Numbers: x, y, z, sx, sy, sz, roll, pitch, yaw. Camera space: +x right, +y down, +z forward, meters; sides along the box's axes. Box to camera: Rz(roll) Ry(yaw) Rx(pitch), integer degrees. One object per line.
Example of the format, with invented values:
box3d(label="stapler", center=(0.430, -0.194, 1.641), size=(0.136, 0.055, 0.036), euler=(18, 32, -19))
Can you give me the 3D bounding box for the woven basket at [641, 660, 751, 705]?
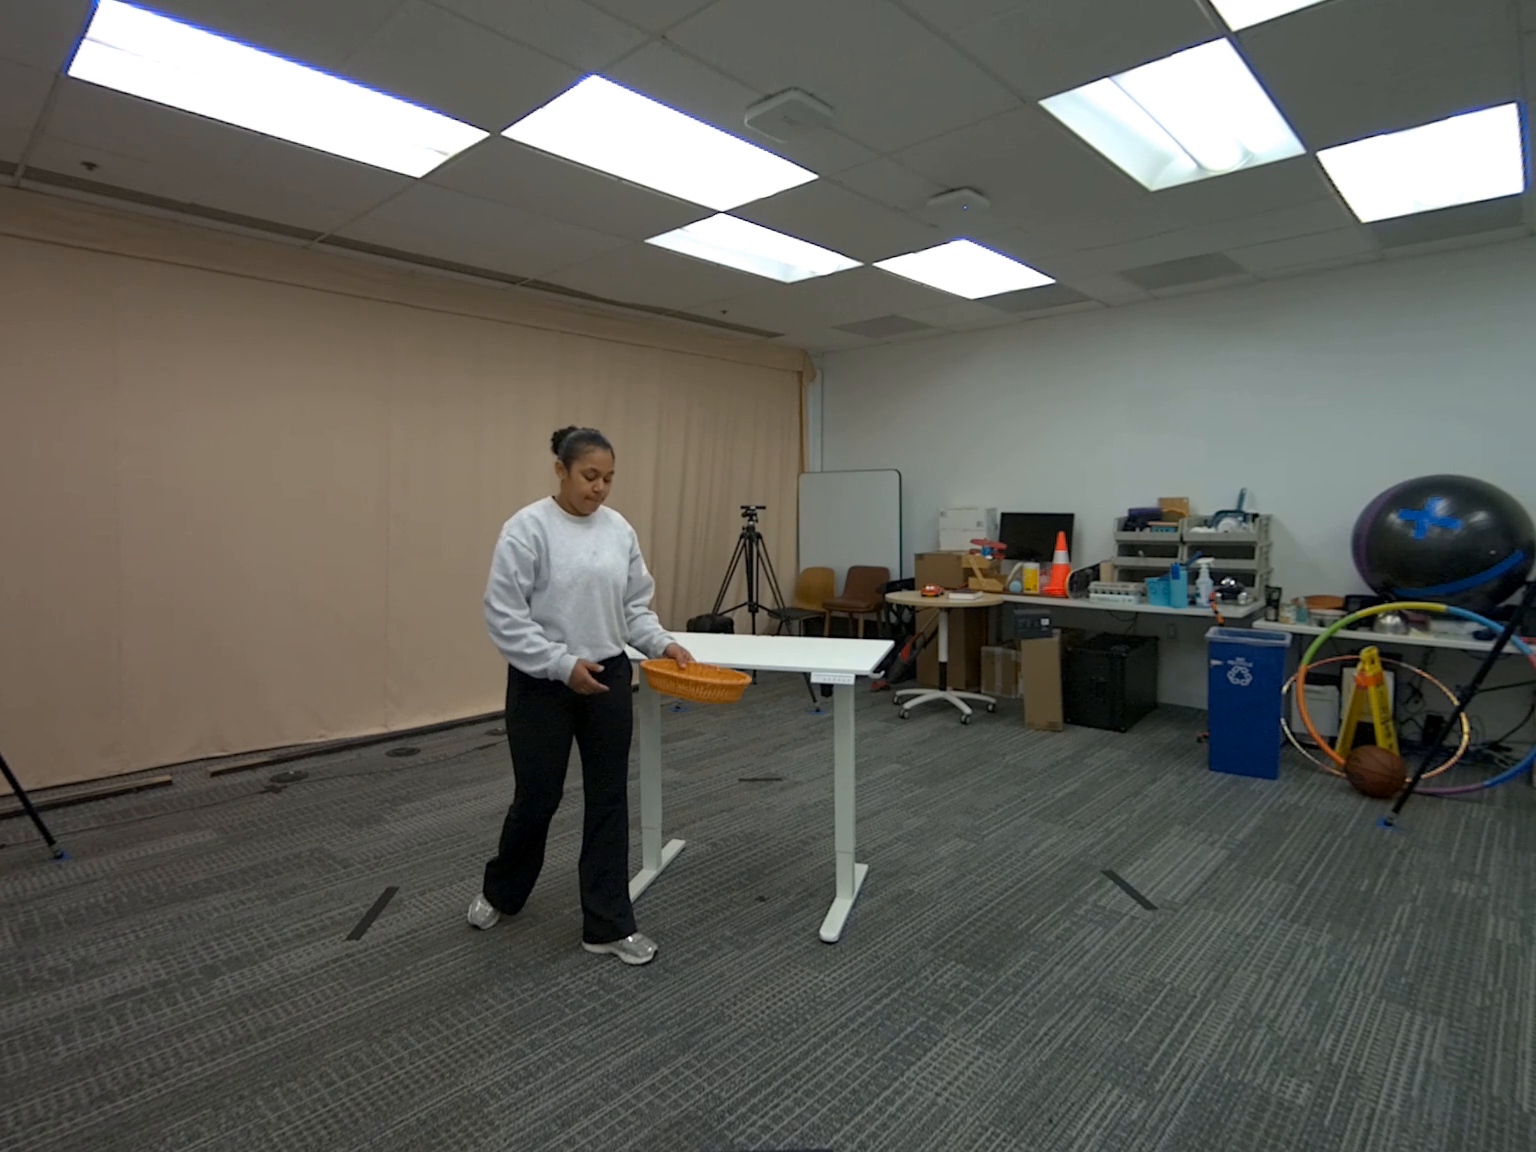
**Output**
box3d(label="woven basket", center=(-0.219, 0.320, 2.467), size=(0.362, 0.073, 0.244), euler=(9, 5, 39))
